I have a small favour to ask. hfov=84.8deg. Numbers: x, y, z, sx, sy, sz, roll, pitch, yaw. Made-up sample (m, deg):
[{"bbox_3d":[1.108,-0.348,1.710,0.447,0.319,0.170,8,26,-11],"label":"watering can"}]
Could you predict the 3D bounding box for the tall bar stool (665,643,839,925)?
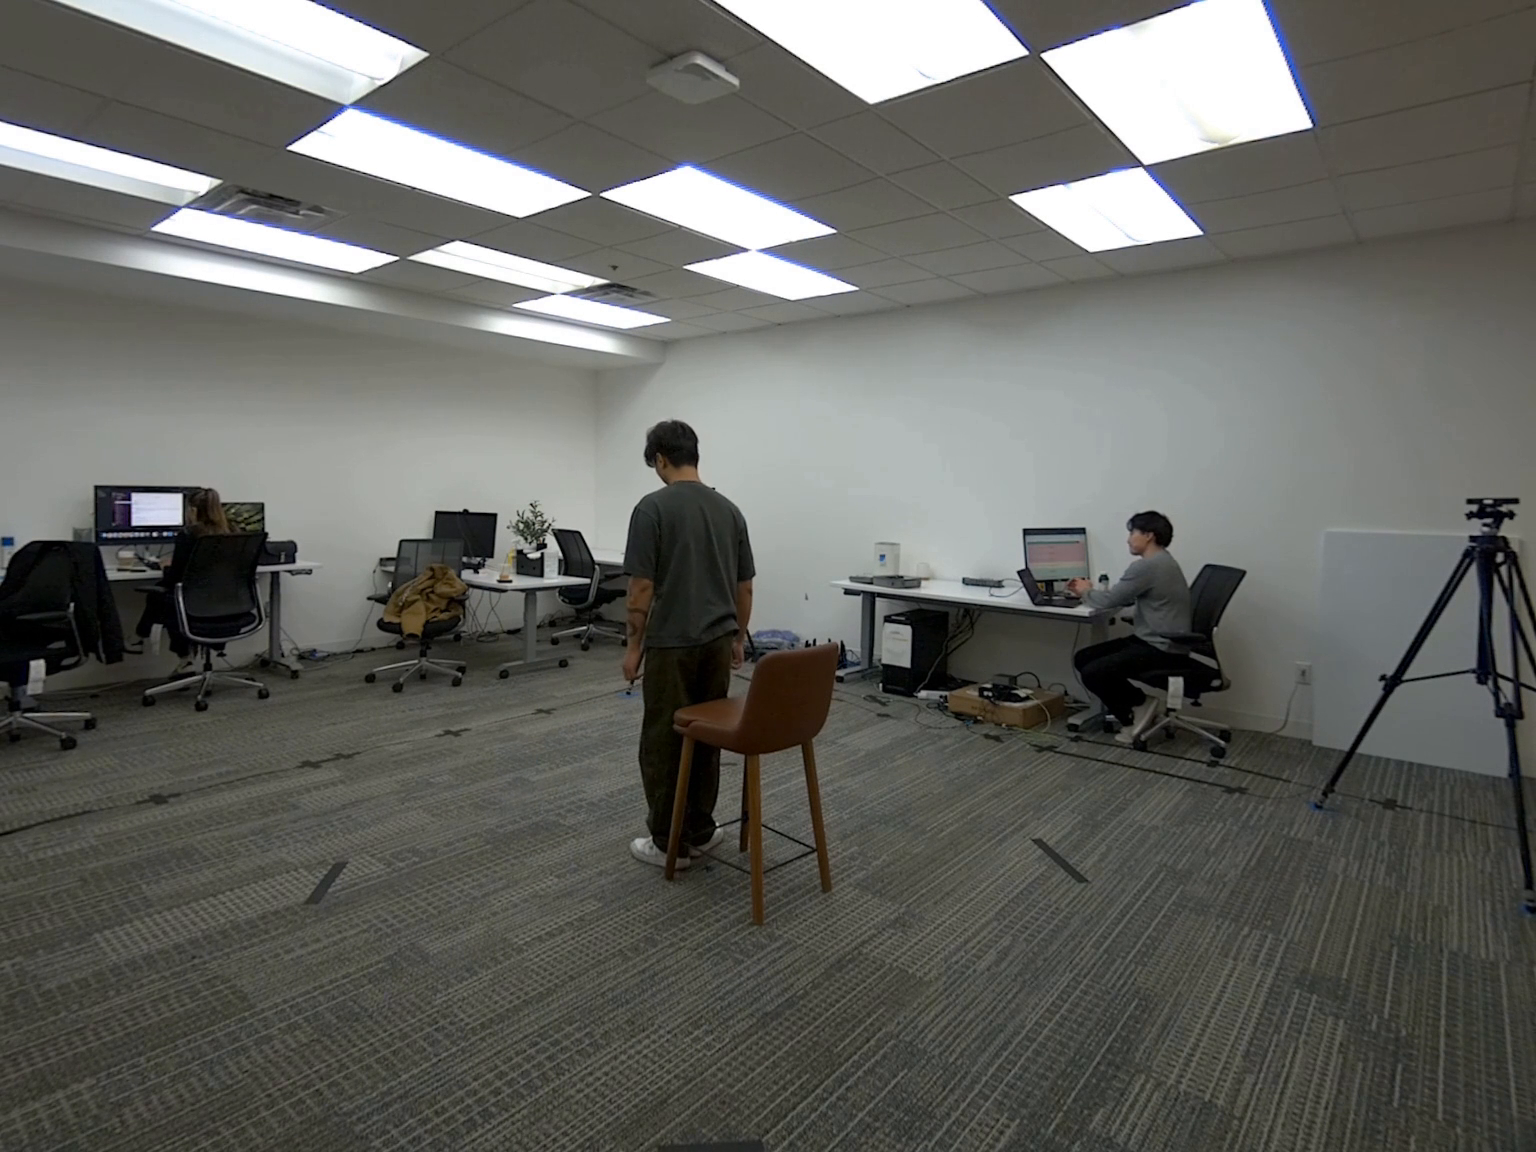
[{"bbox_3d":[-0.057,0.643,2.965,0.484,0.886,0.442,7,6,44],"label":"tall bar stool"}]
